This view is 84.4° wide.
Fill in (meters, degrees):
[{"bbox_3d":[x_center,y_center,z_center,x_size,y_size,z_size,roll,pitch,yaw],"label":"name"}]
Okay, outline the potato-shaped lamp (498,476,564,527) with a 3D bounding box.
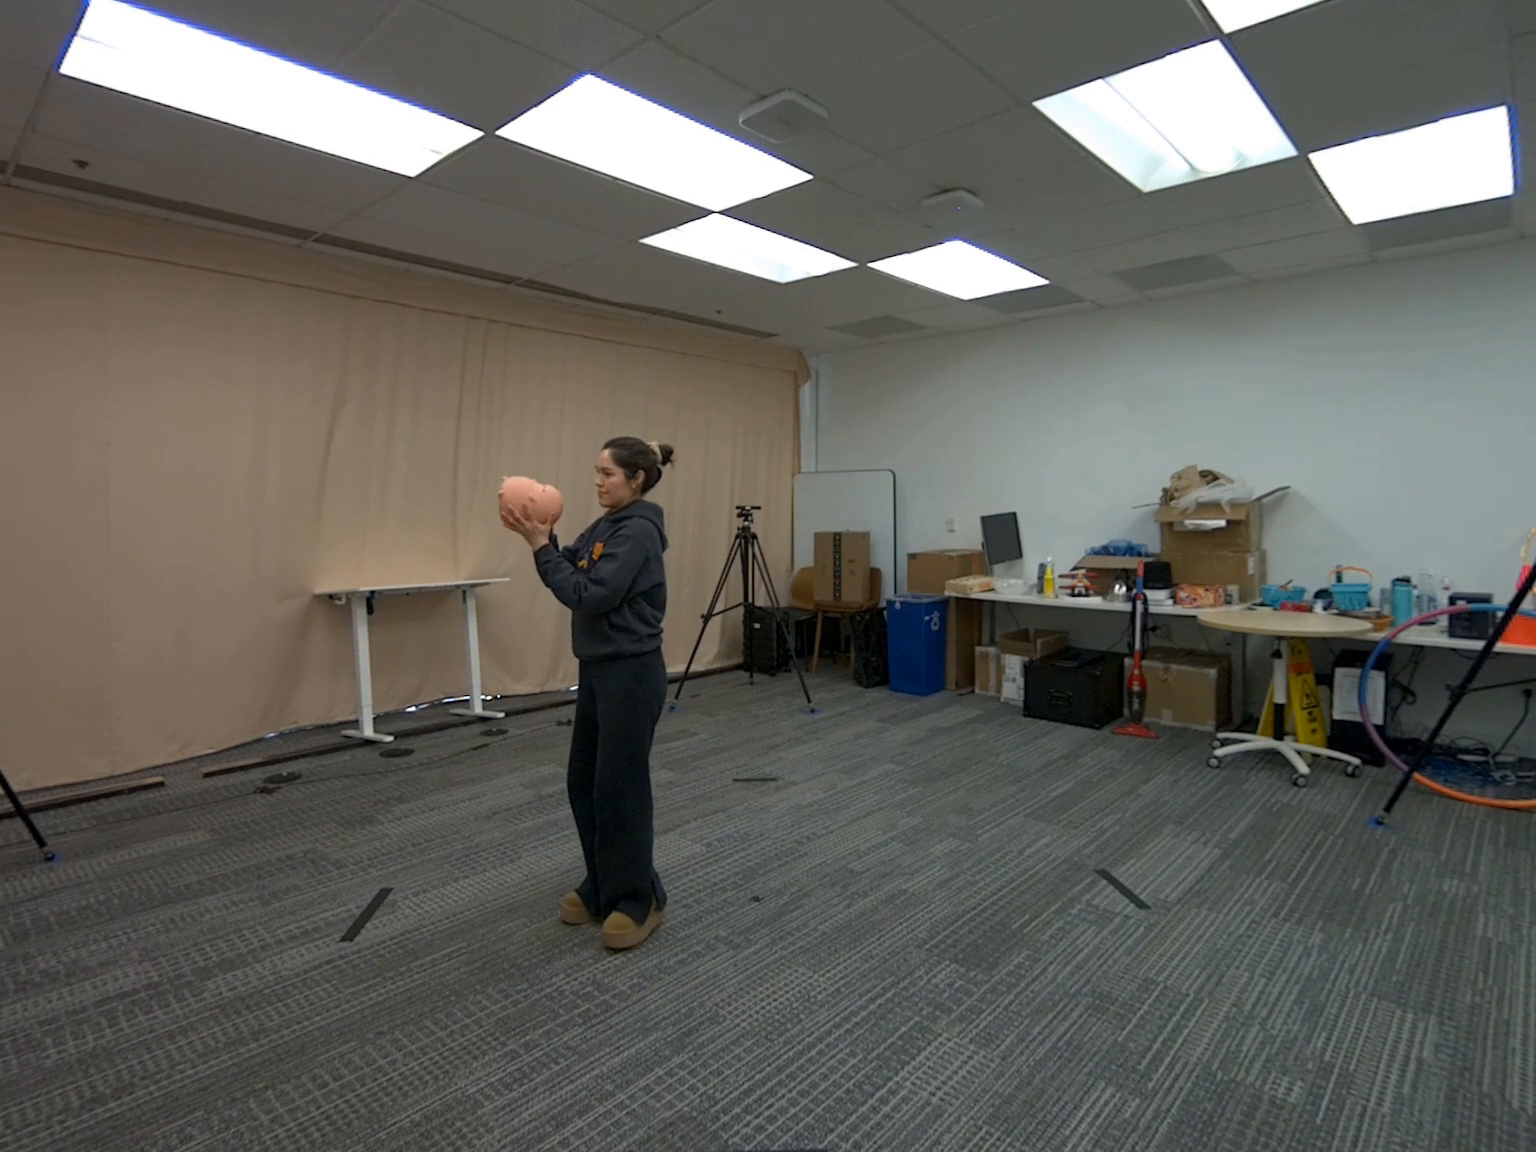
[{"bbox_3d":[-0.738,-0.218,2.675,0.197,0.168,0.168,-3,34,-6],"label":"potato-shaped lamp"}]
